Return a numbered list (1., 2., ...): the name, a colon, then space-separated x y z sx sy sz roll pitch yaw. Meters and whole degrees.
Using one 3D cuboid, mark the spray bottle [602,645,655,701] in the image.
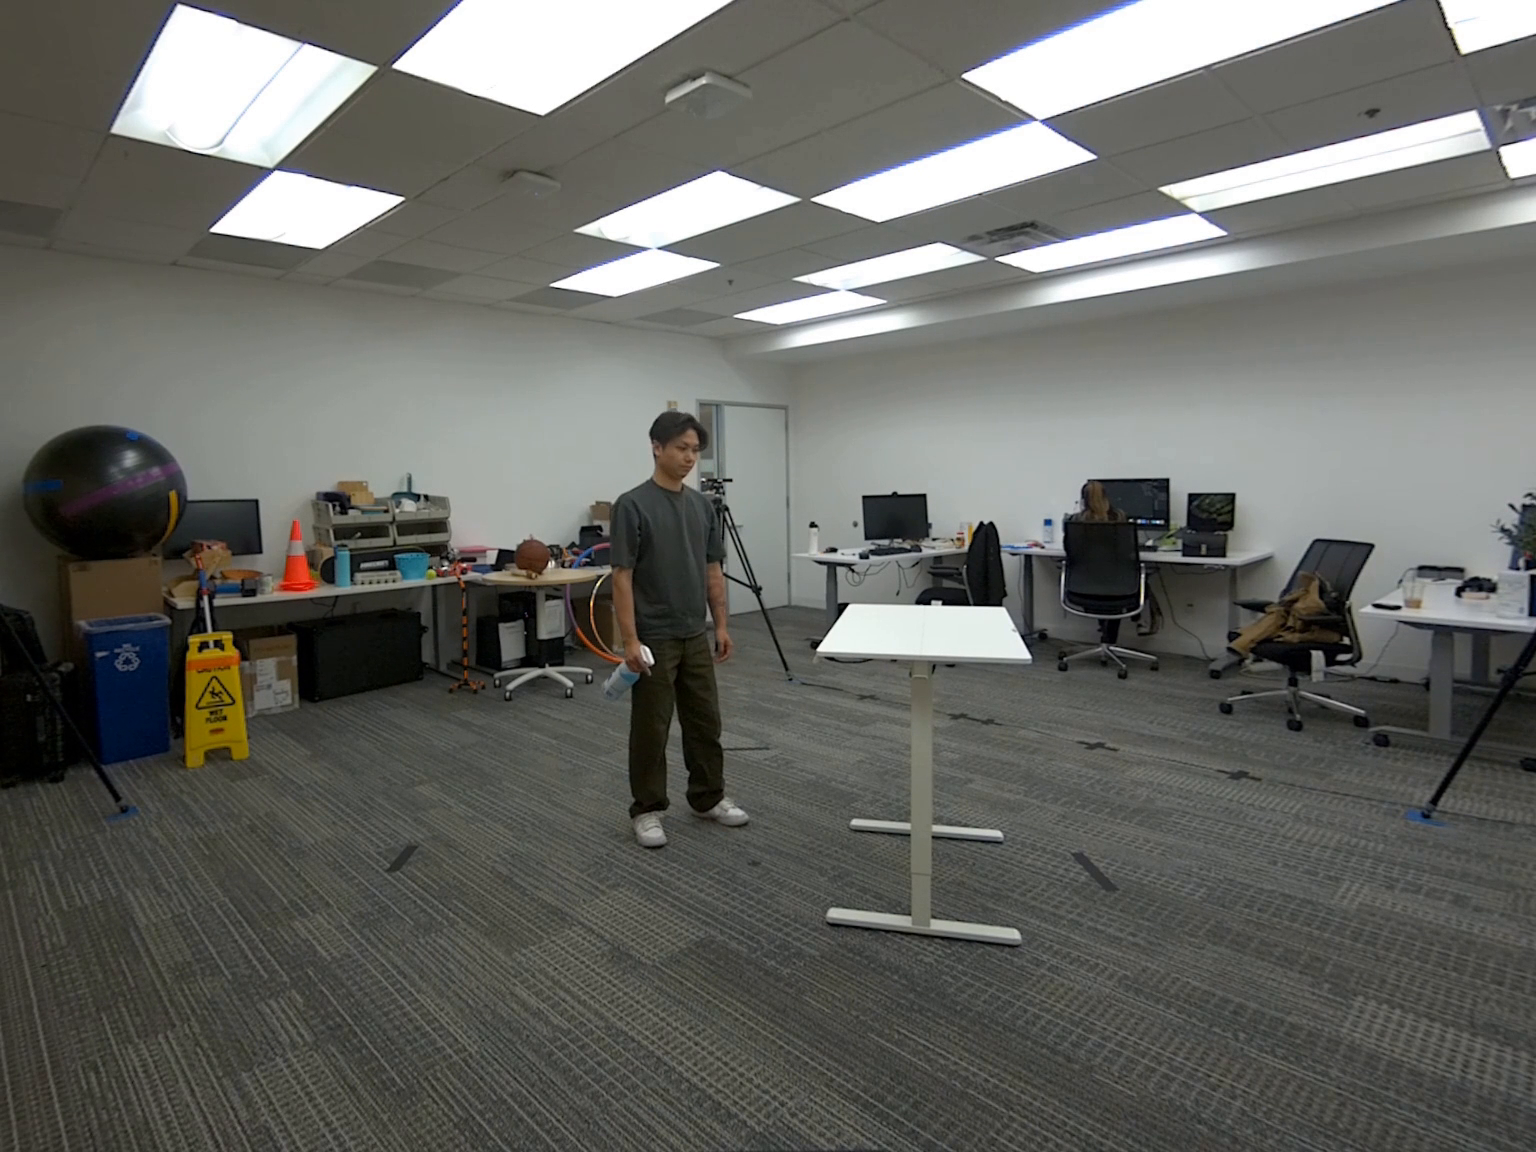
1. spray bottle: -0.532 0.360 3.204 0.084 0.092 0.298 31 -53 -26
